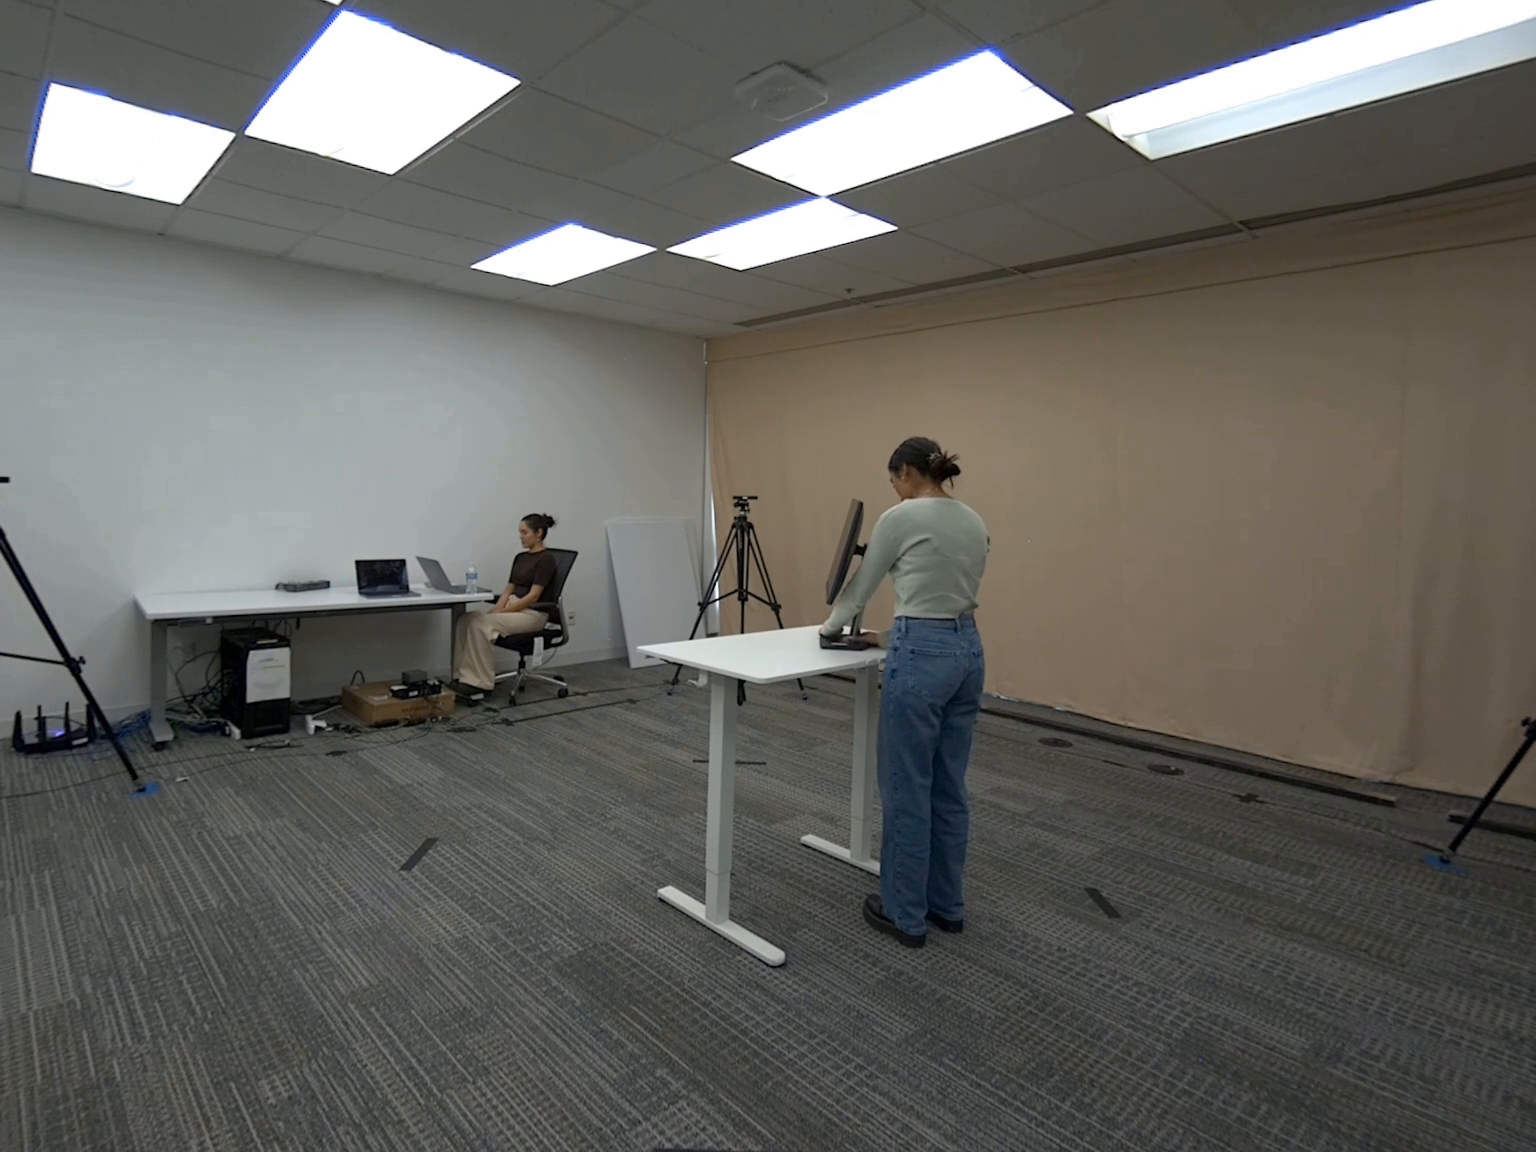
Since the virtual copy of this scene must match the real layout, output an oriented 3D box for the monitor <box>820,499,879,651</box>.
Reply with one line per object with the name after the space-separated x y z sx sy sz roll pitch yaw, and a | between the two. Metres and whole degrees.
0.279 -0.013 2.989 0.175 0.514 0.530 0 6 3 | monitor
